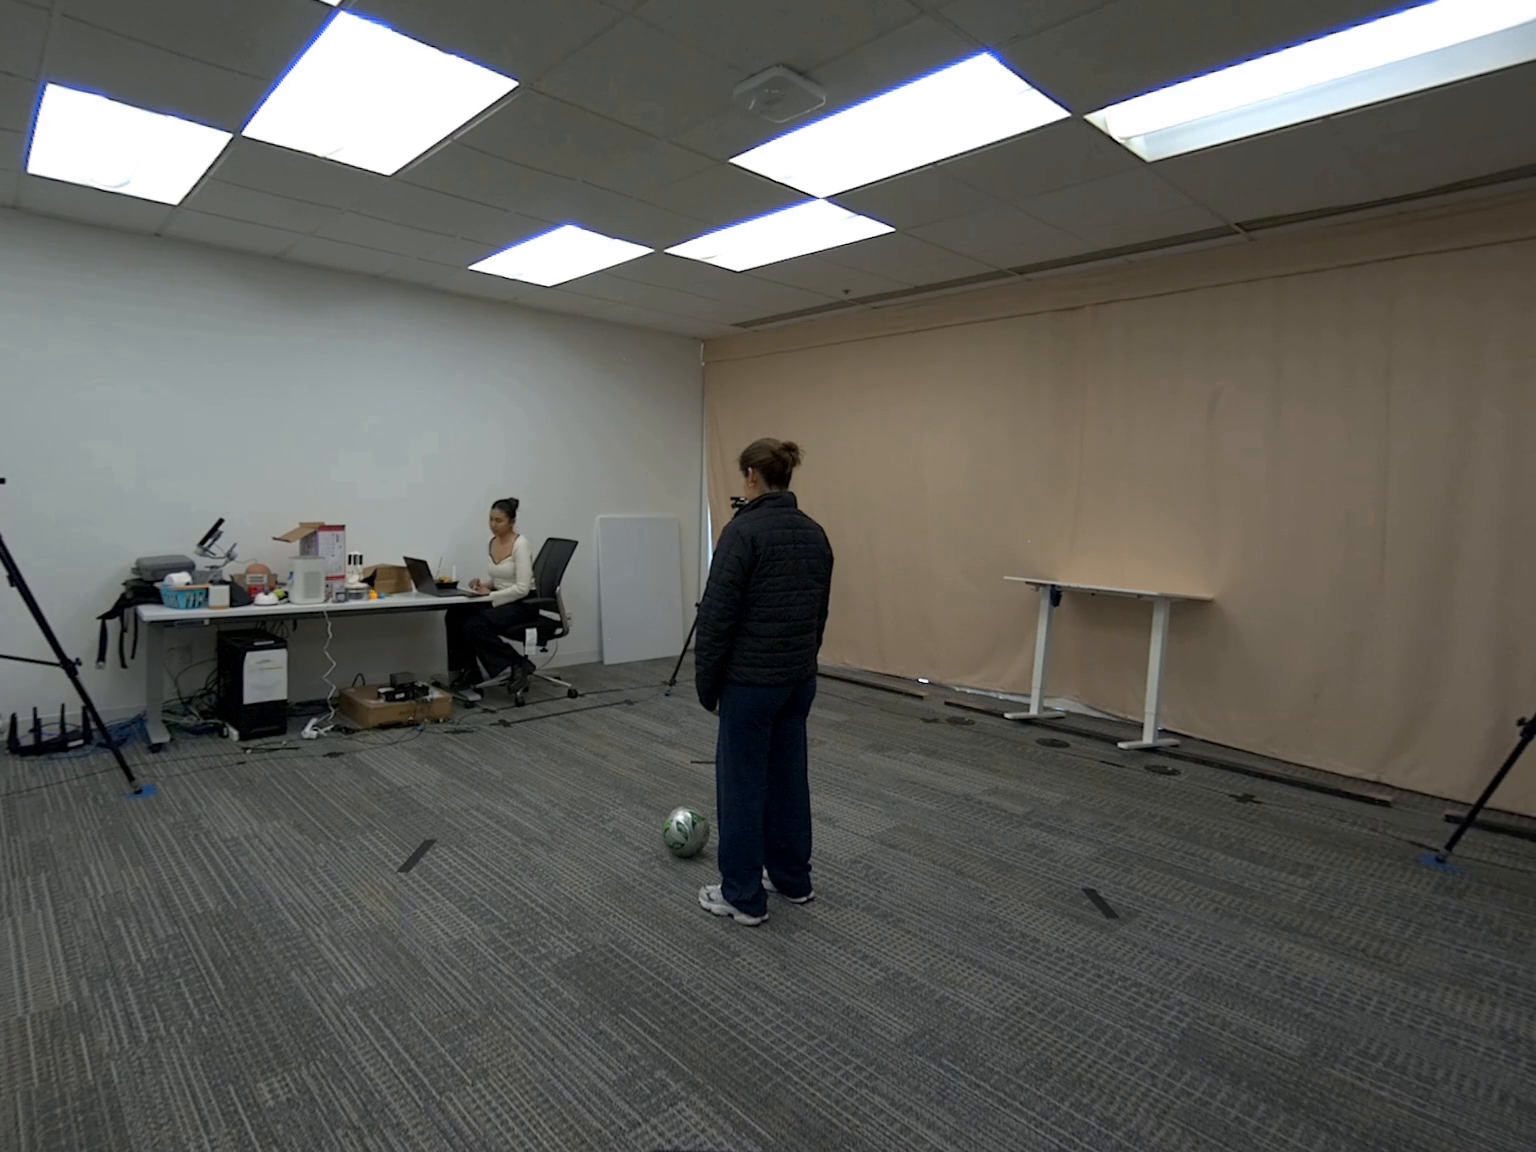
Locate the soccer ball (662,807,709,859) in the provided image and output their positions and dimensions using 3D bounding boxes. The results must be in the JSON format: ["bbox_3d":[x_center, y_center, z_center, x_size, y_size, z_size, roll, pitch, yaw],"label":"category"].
[{"bbox_3d":[-0.330,0.990,3.275,0.187,0.187,0.188,1,4,-1],"label":"soccer ball"}]
